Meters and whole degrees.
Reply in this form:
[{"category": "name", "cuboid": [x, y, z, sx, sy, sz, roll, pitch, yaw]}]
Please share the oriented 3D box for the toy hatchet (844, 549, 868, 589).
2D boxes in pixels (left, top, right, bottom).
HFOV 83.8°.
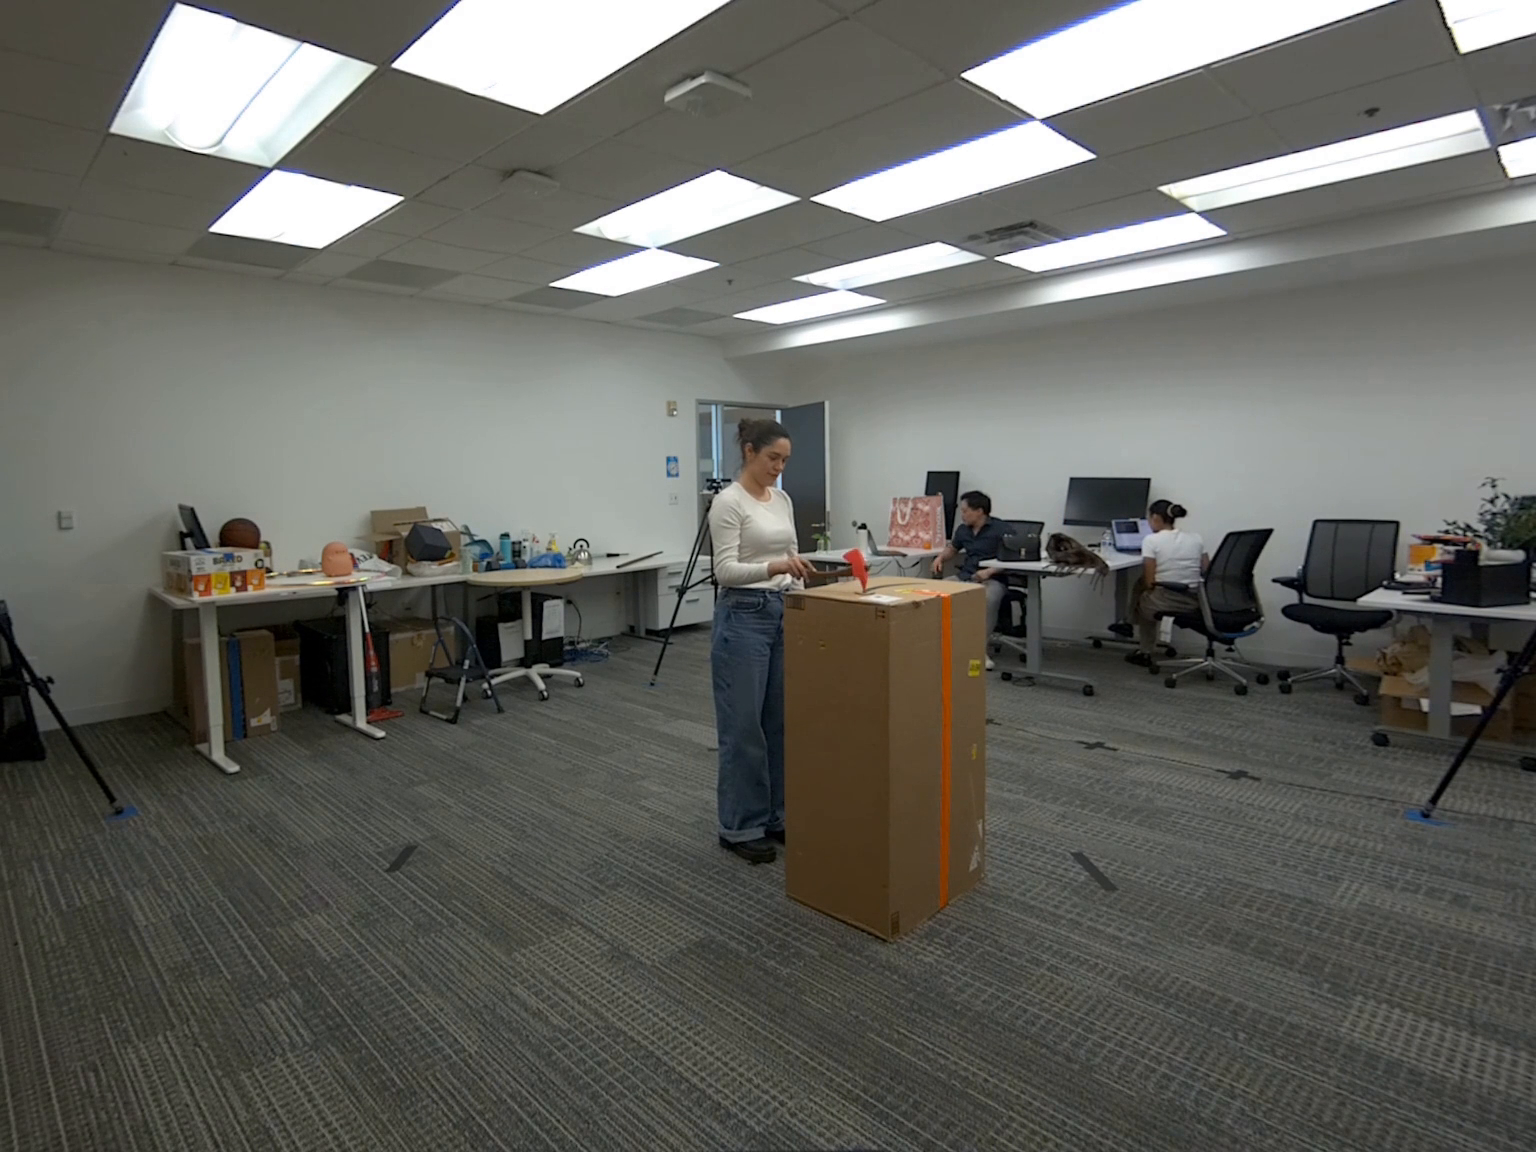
[{"category": "toy hatchet", "cuboid": [0.214, -0.043, 2.825, 0.278, 0.130, 0.029, 8, 12, 31]}]
